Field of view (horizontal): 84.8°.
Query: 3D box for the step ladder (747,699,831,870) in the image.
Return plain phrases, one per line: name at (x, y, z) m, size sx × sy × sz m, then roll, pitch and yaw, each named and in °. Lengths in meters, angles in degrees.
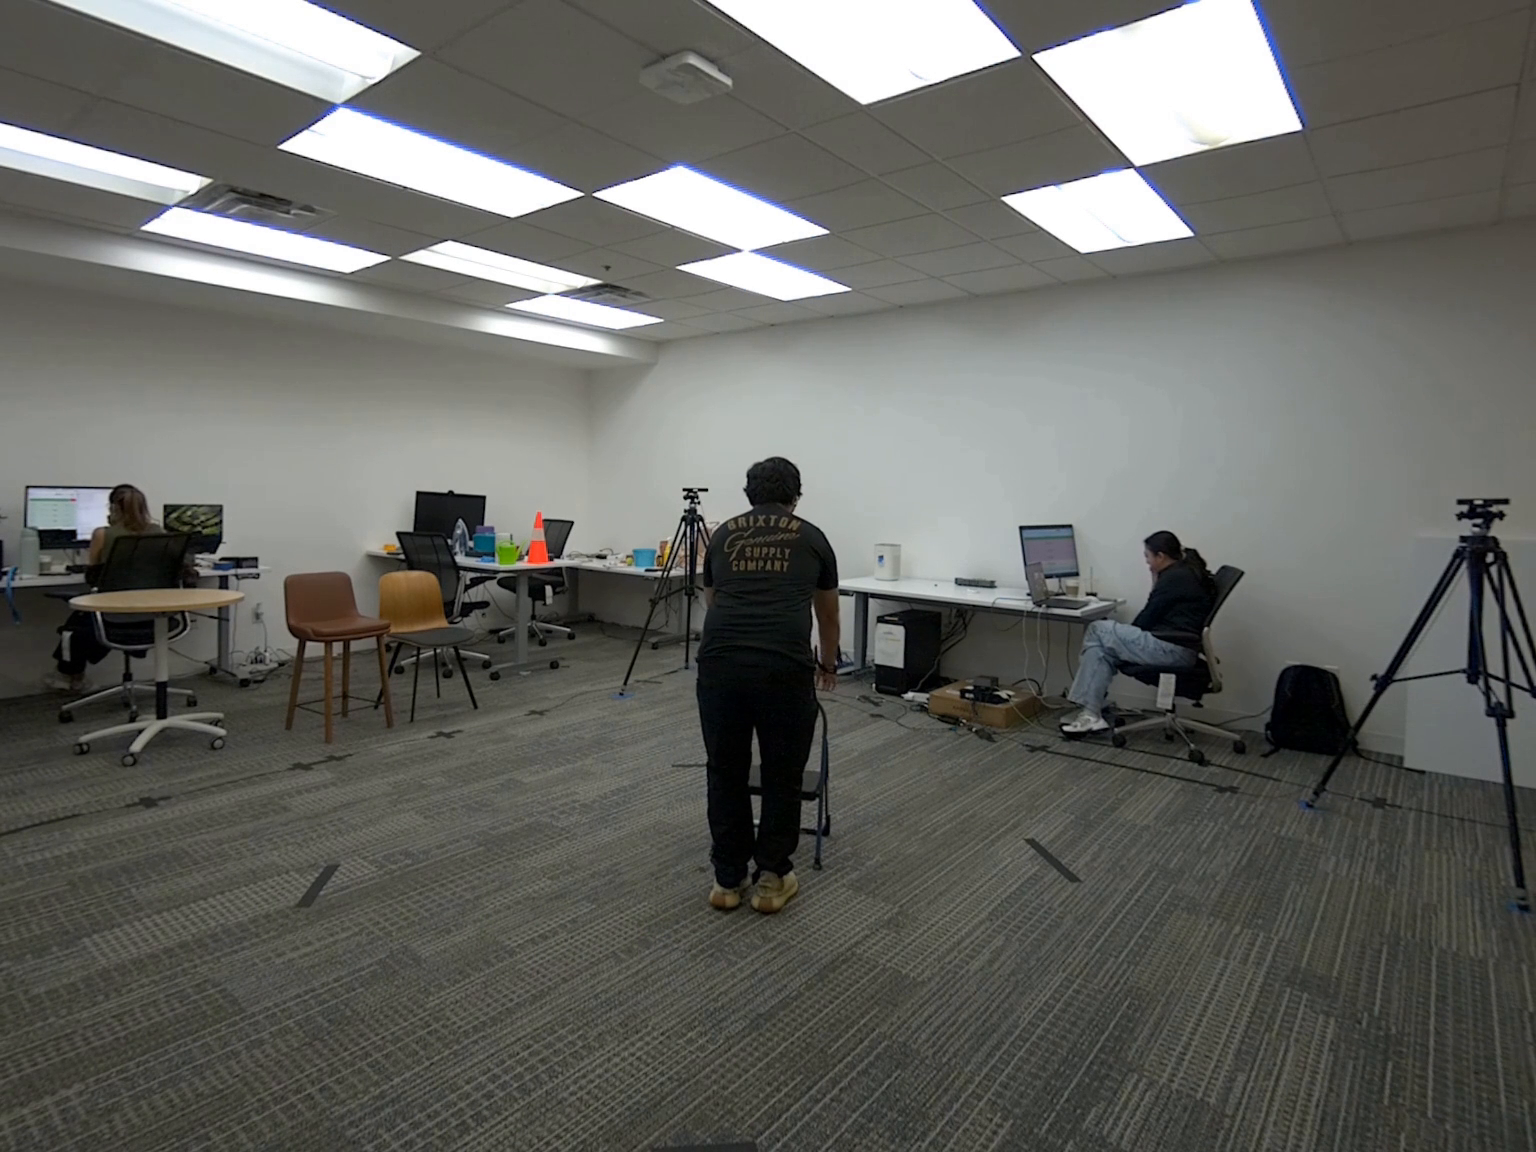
step ladder at (0.020, 0.750, 3.328) m, size 0.437 × 0.604 × 0.345 m, roll 2°, pitch 3°, yaw 13°
